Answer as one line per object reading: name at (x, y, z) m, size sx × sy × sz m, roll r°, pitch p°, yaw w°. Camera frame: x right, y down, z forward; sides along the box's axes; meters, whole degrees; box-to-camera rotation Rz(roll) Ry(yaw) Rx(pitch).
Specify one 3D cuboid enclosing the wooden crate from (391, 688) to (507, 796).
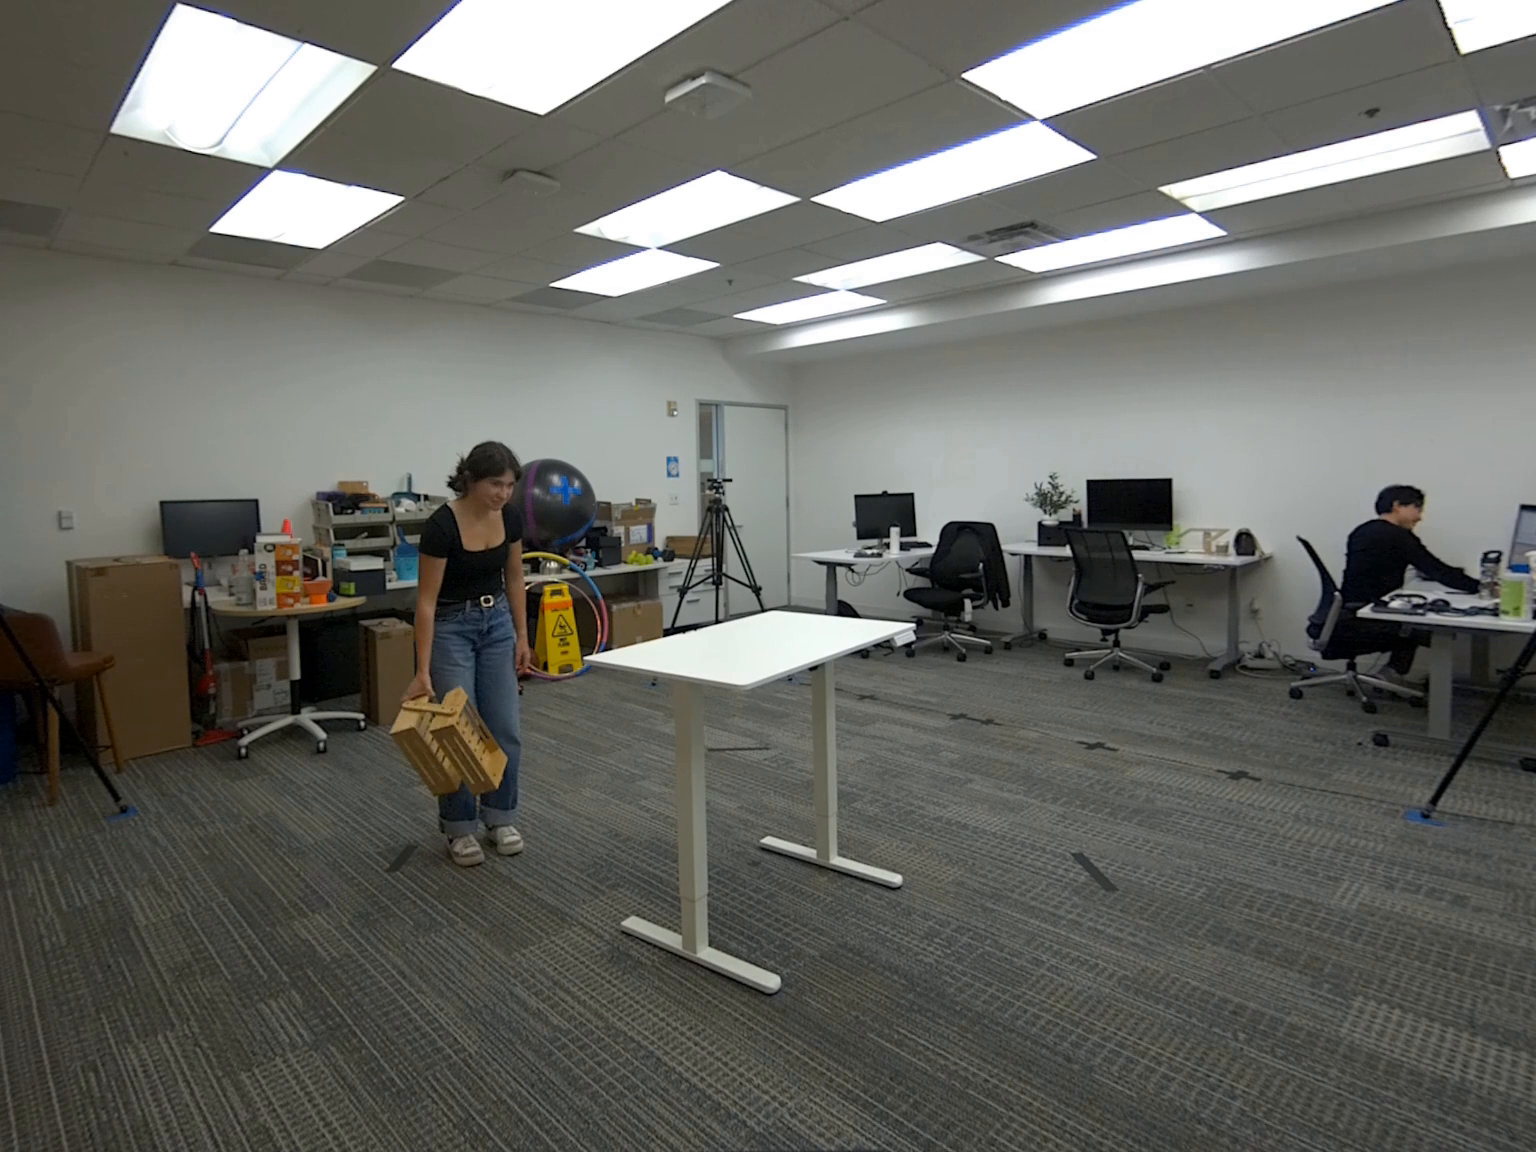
wooden crate at (-1.072, 0.554, 2.946) m, size 0.275 × 0.315 × 0.309 m, roll -19°, pitch 29°, yaw 8°
